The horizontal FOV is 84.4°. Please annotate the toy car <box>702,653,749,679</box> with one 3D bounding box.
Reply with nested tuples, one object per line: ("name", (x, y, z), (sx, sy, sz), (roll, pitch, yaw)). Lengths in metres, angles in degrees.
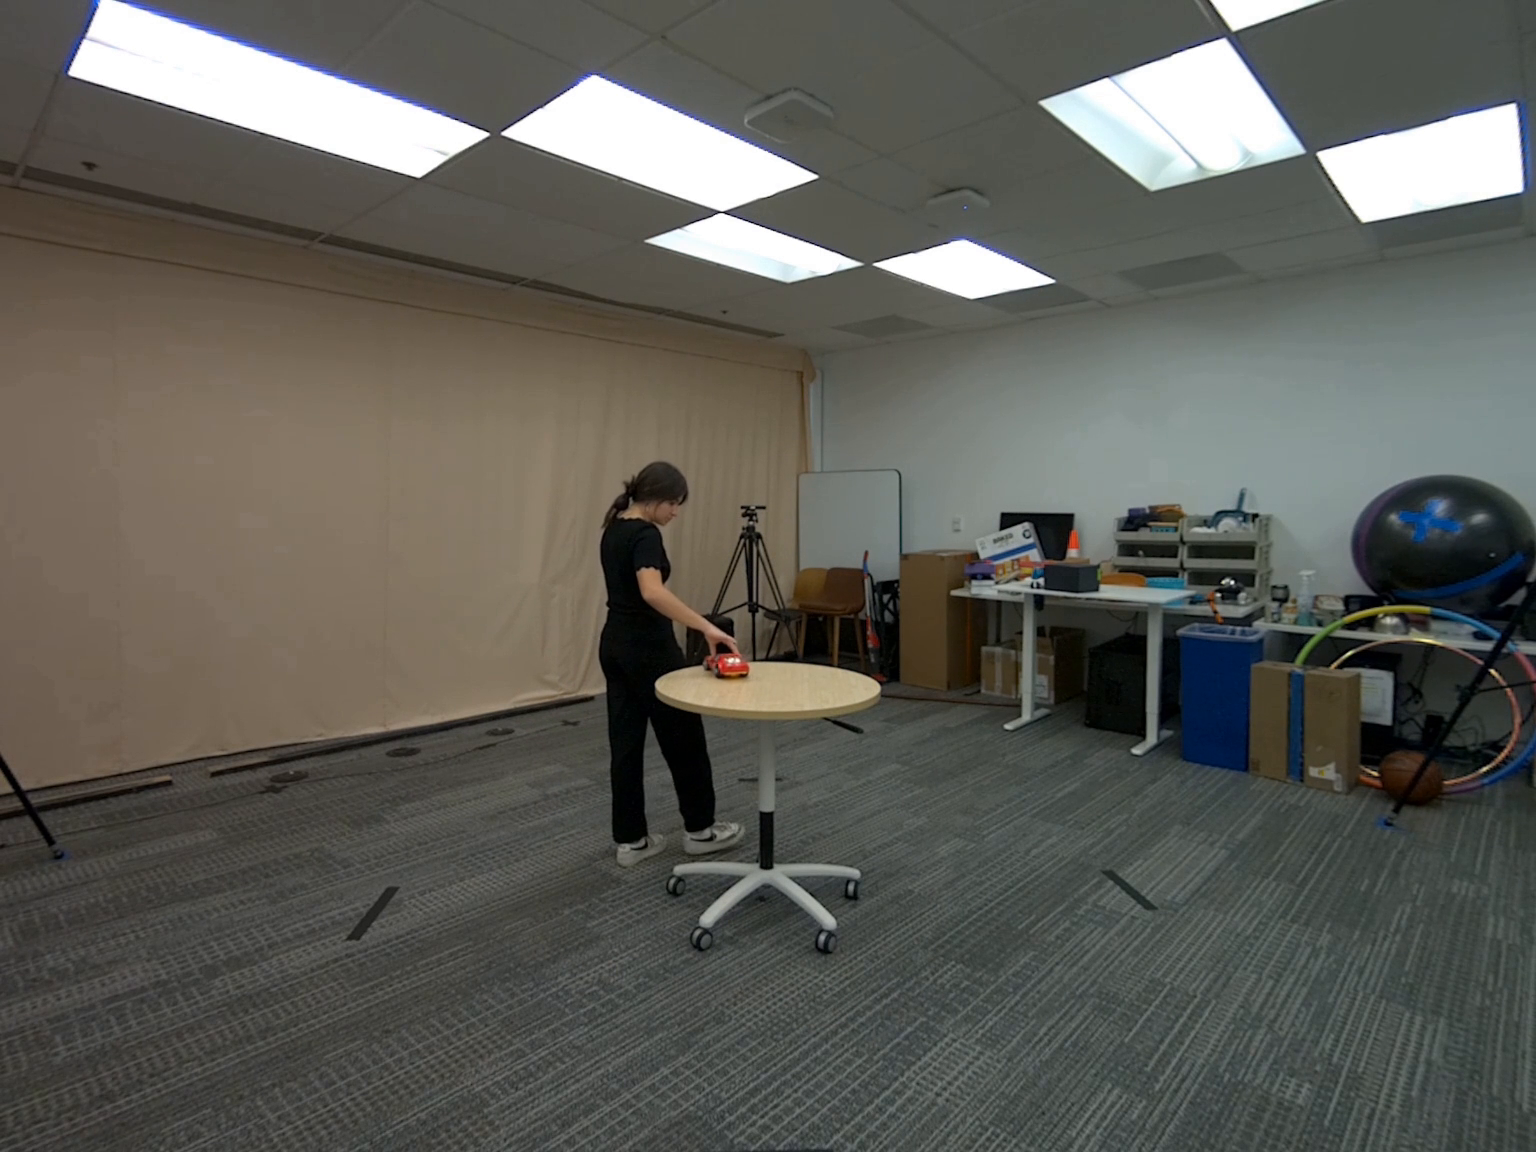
("toy car", (-0.138, 0.324, 3.019), (0.128, 0.083, 0.257), (0, -6, -17))
